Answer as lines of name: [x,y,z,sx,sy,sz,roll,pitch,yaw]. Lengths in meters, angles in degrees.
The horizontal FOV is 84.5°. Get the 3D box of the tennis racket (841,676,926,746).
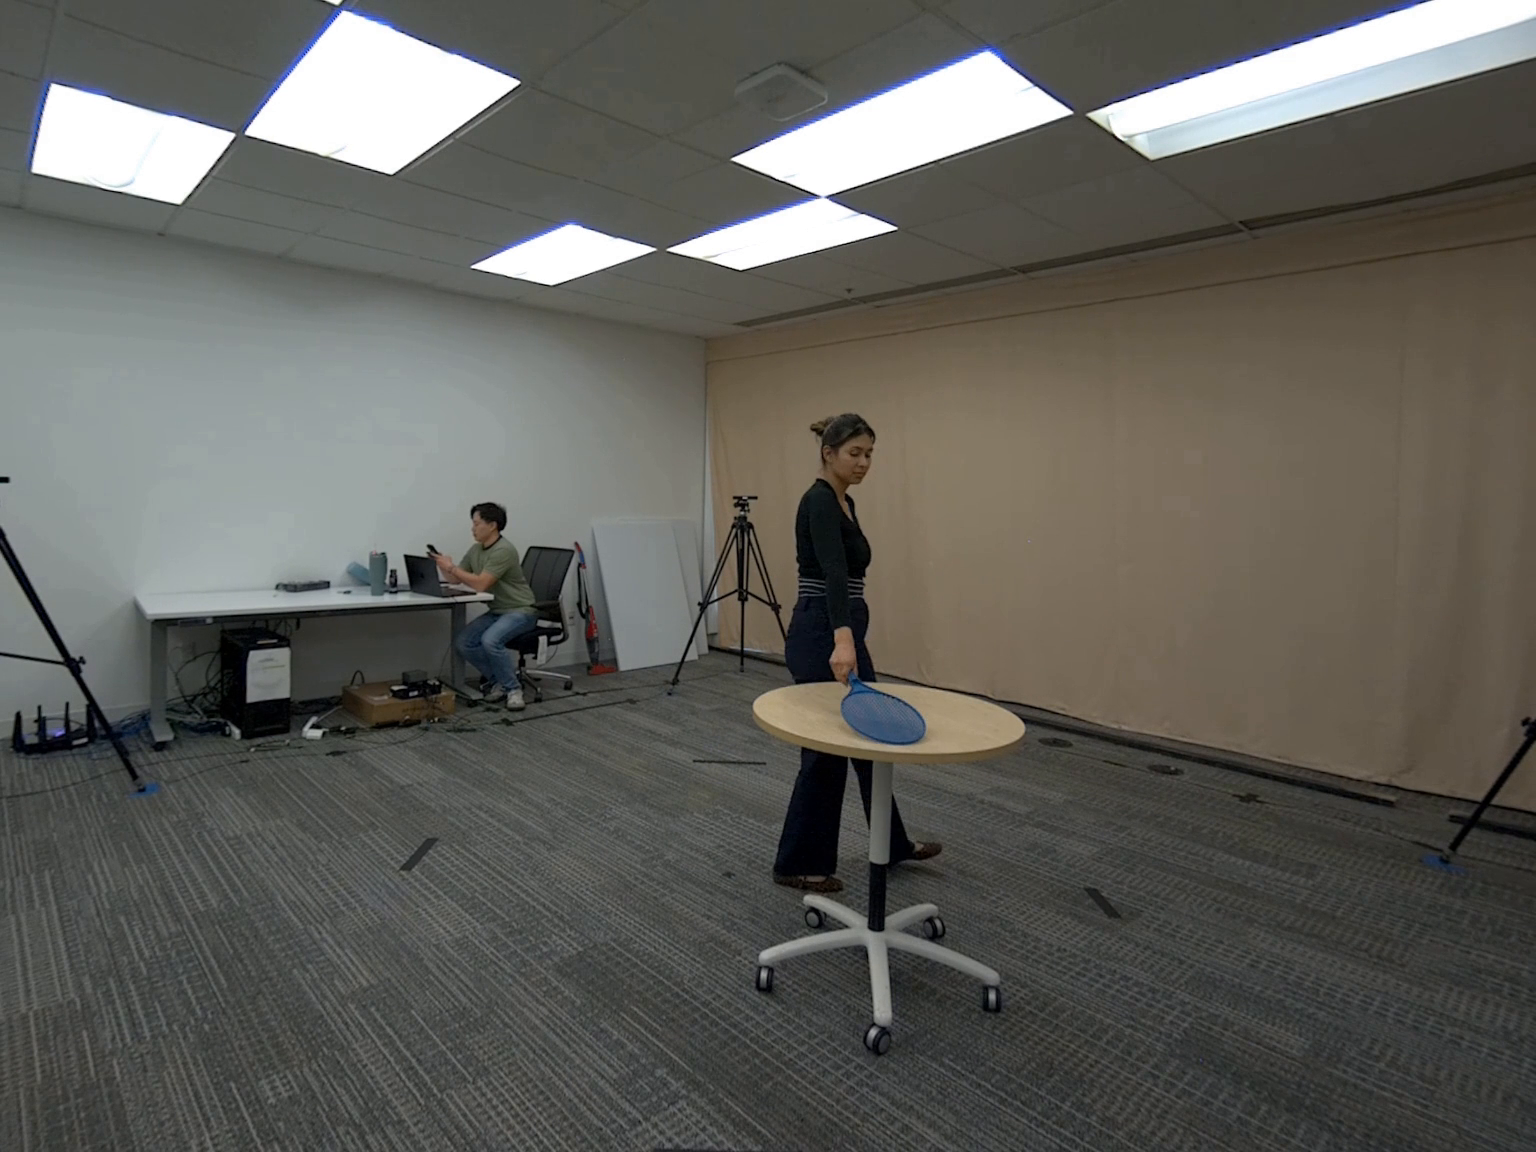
tennis racket: [0.270,0.348,2.304,0.211,0.031,0.443,-1,18,-15]
